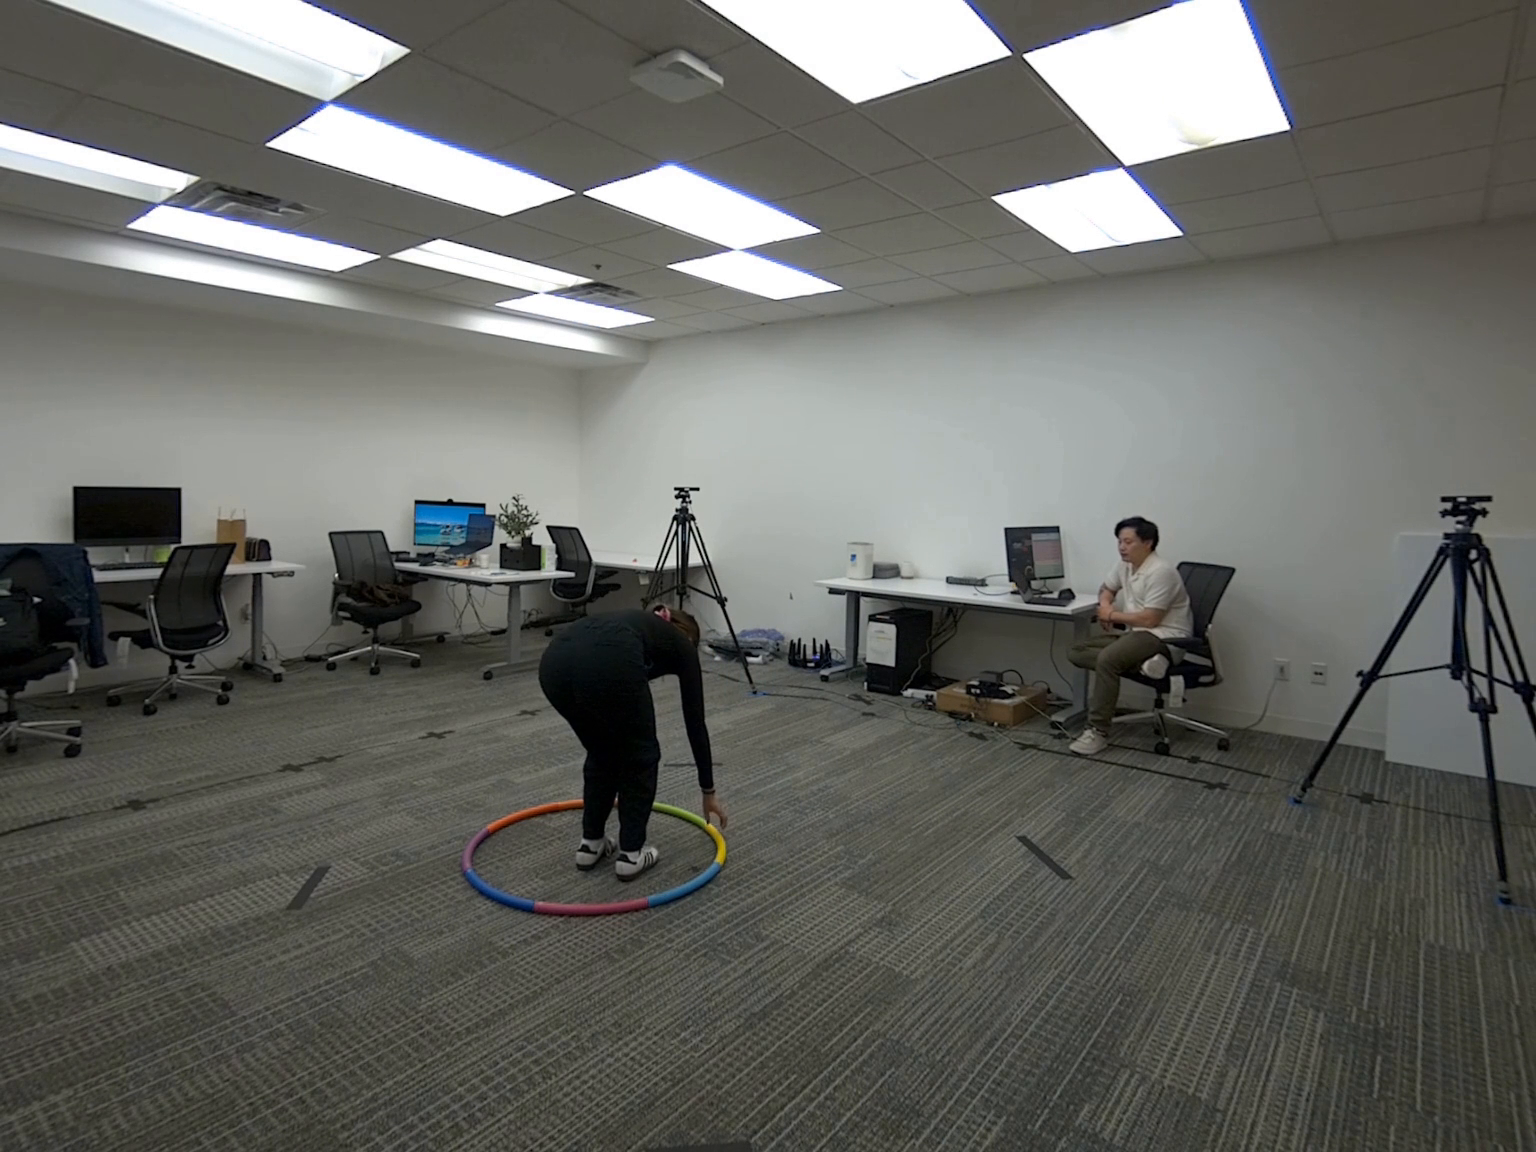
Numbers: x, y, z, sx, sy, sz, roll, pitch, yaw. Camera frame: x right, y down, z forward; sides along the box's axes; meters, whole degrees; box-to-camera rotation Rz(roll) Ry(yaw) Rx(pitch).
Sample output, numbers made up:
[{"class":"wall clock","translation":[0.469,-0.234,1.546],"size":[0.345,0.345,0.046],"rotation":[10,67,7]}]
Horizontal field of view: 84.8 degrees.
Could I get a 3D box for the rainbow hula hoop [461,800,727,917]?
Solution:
[{"class":"rainbow hula hoop","translation":[-0.652,1.018,3.225],"size":[0.978,0.035,0.984],"rotation":[0,6,-2]}]
